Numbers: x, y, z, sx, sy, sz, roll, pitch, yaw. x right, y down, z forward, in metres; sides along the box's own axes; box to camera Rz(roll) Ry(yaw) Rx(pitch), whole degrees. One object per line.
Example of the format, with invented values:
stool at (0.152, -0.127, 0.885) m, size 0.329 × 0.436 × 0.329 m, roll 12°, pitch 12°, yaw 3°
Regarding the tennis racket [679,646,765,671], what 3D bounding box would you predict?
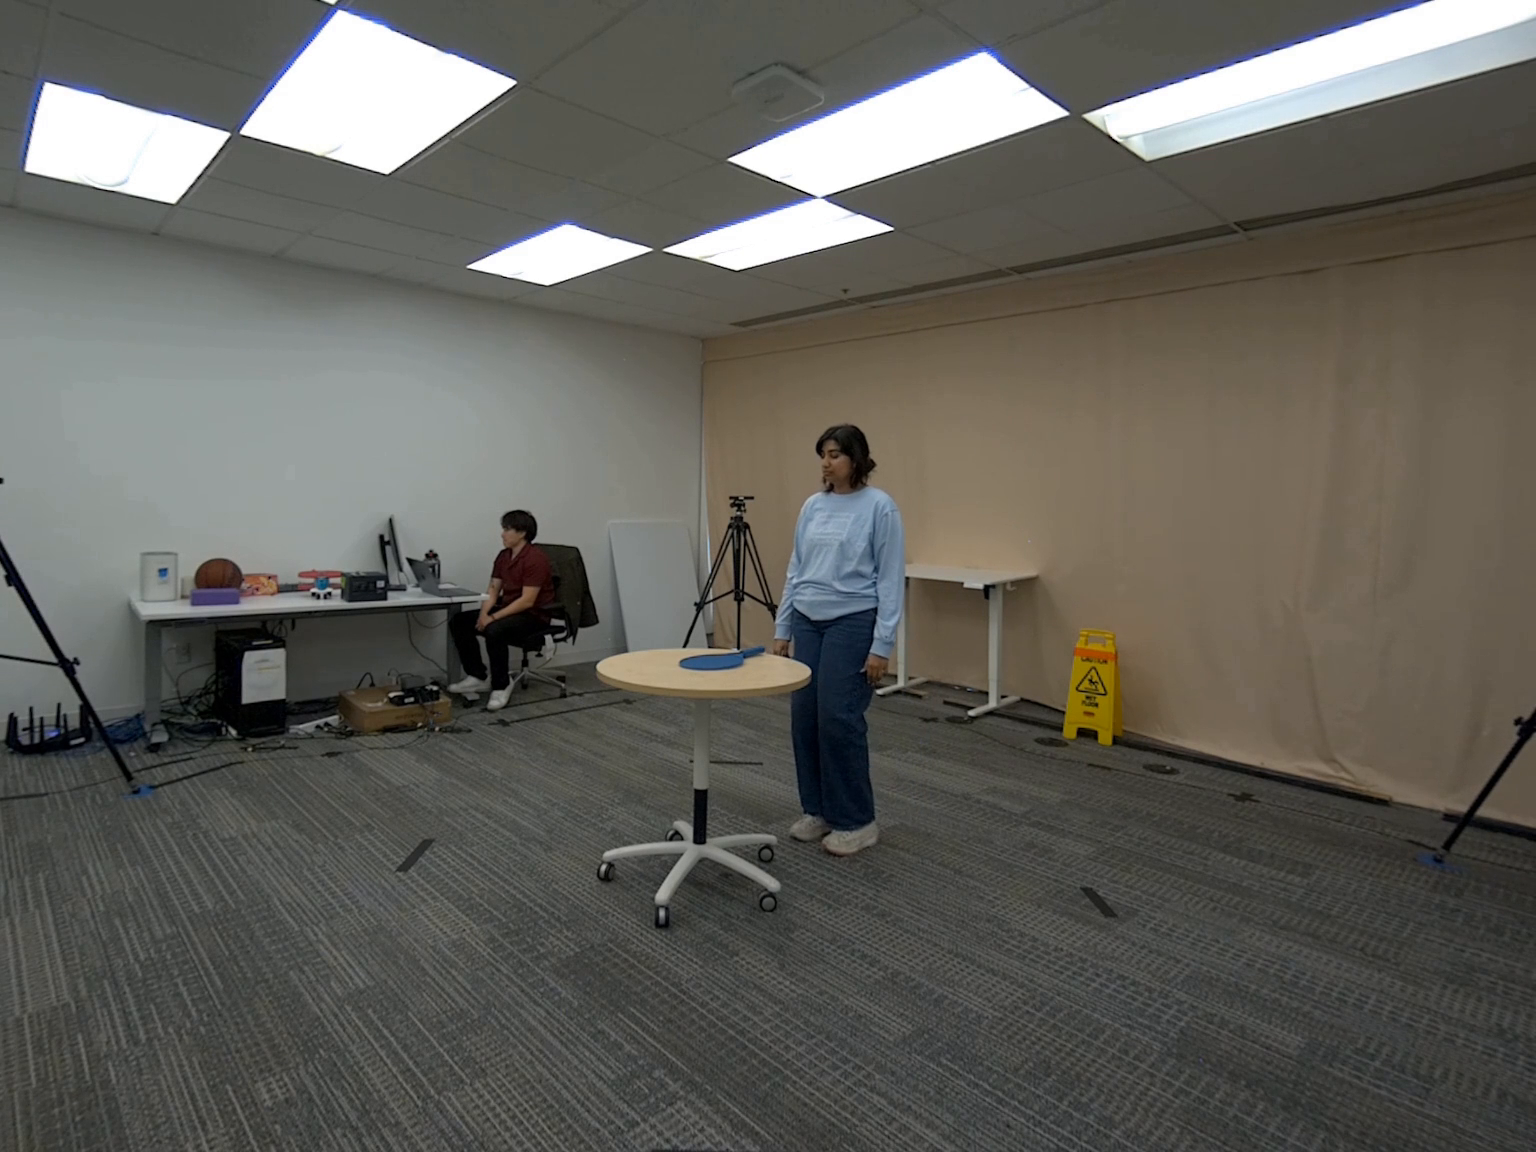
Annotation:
tennis racket at (-0.163, 0.310, 3.134) m, size 0.219 × 0.031 × 0.424 m, roll 6°, pitch 8°, yaw 39°
